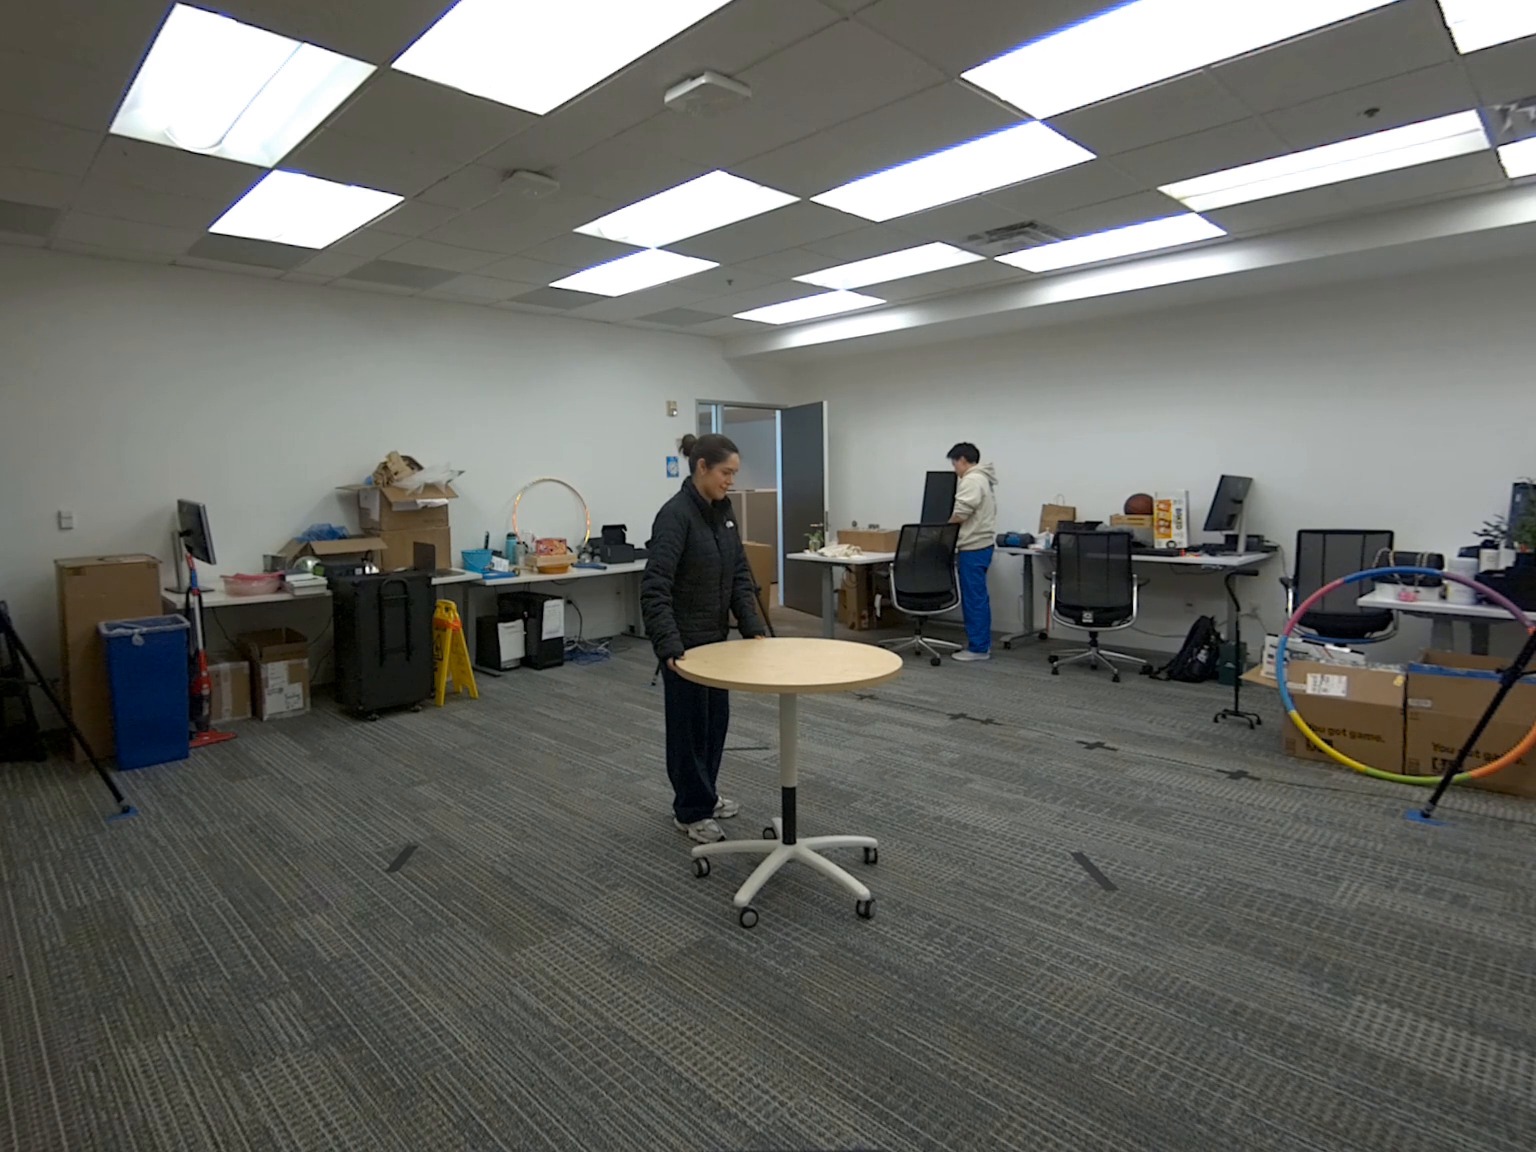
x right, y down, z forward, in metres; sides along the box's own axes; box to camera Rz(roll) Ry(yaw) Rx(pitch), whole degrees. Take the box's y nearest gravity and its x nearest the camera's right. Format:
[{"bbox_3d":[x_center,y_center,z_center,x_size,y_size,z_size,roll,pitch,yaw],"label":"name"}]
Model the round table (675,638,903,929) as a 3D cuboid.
[{"bbox_3d":[0.087,0.668,2.946,0.784,0.783,0.789,-1,5,-2],"label":"round table"}]
